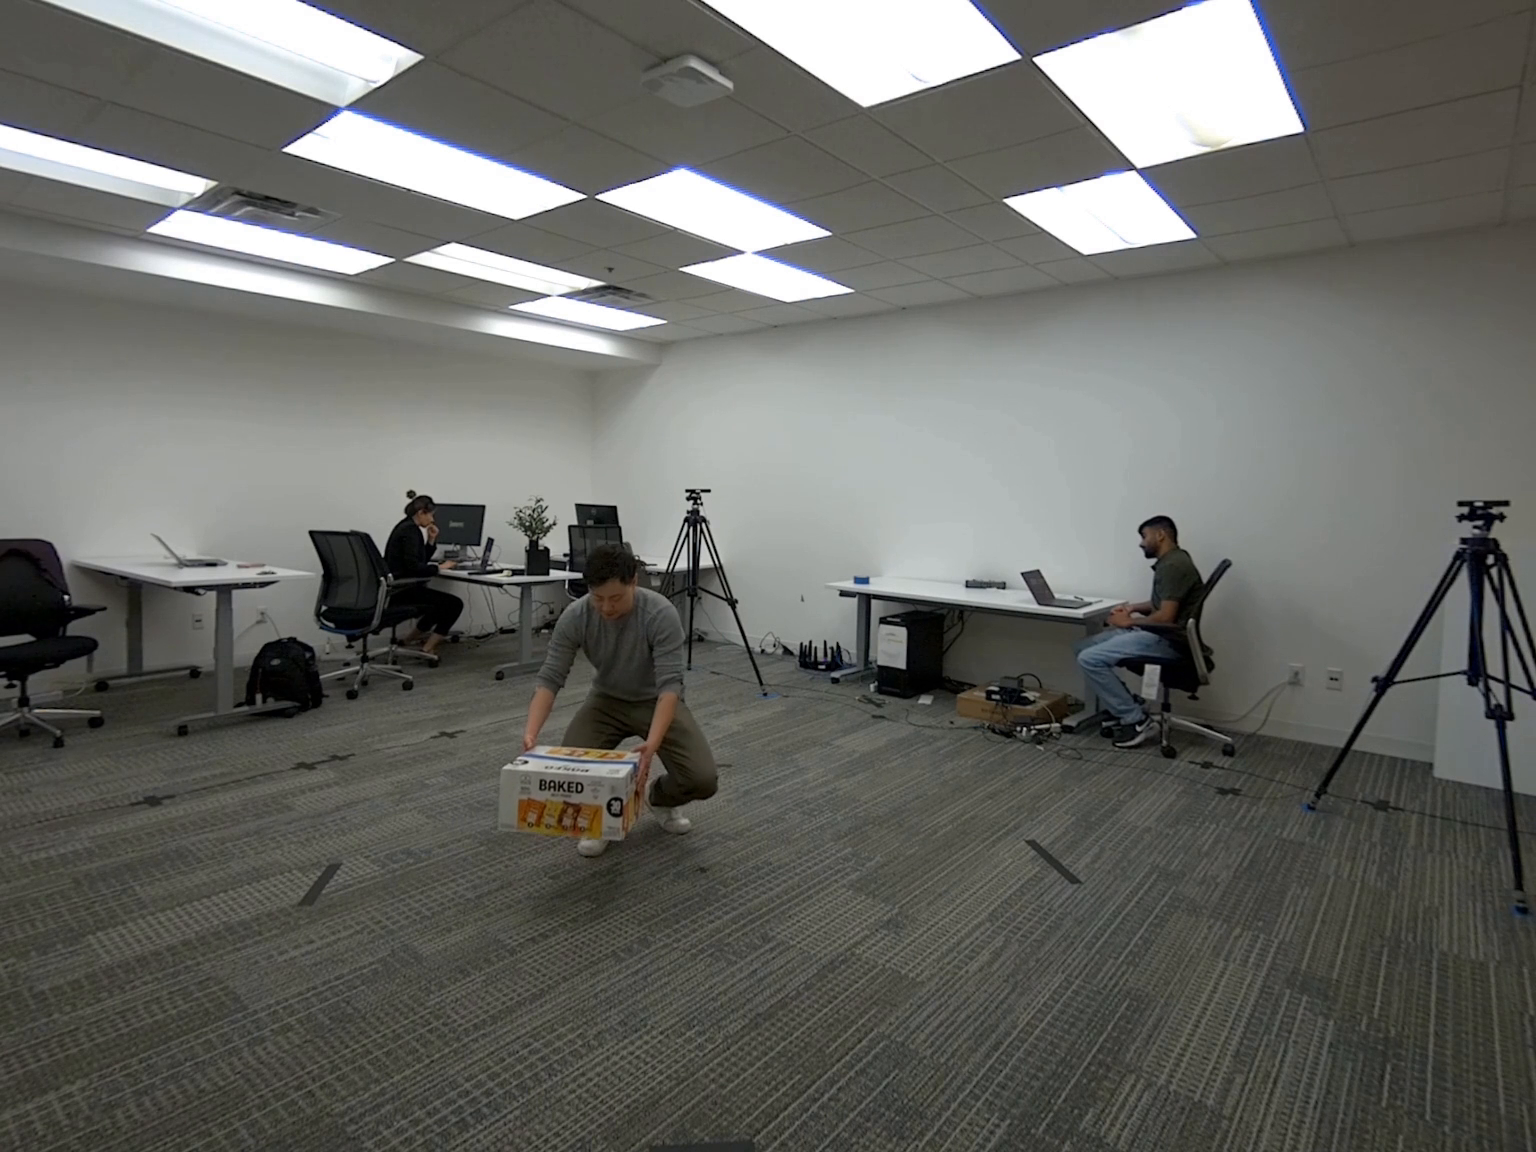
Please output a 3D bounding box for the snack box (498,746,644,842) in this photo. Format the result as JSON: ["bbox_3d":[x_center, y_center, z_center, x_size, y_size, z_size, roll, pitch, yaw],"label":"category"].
[{"bbox_3d":[-0.659,0.721,2.858,0.408,0.206,0.338,2,0,6],"label":"snack box"}]
